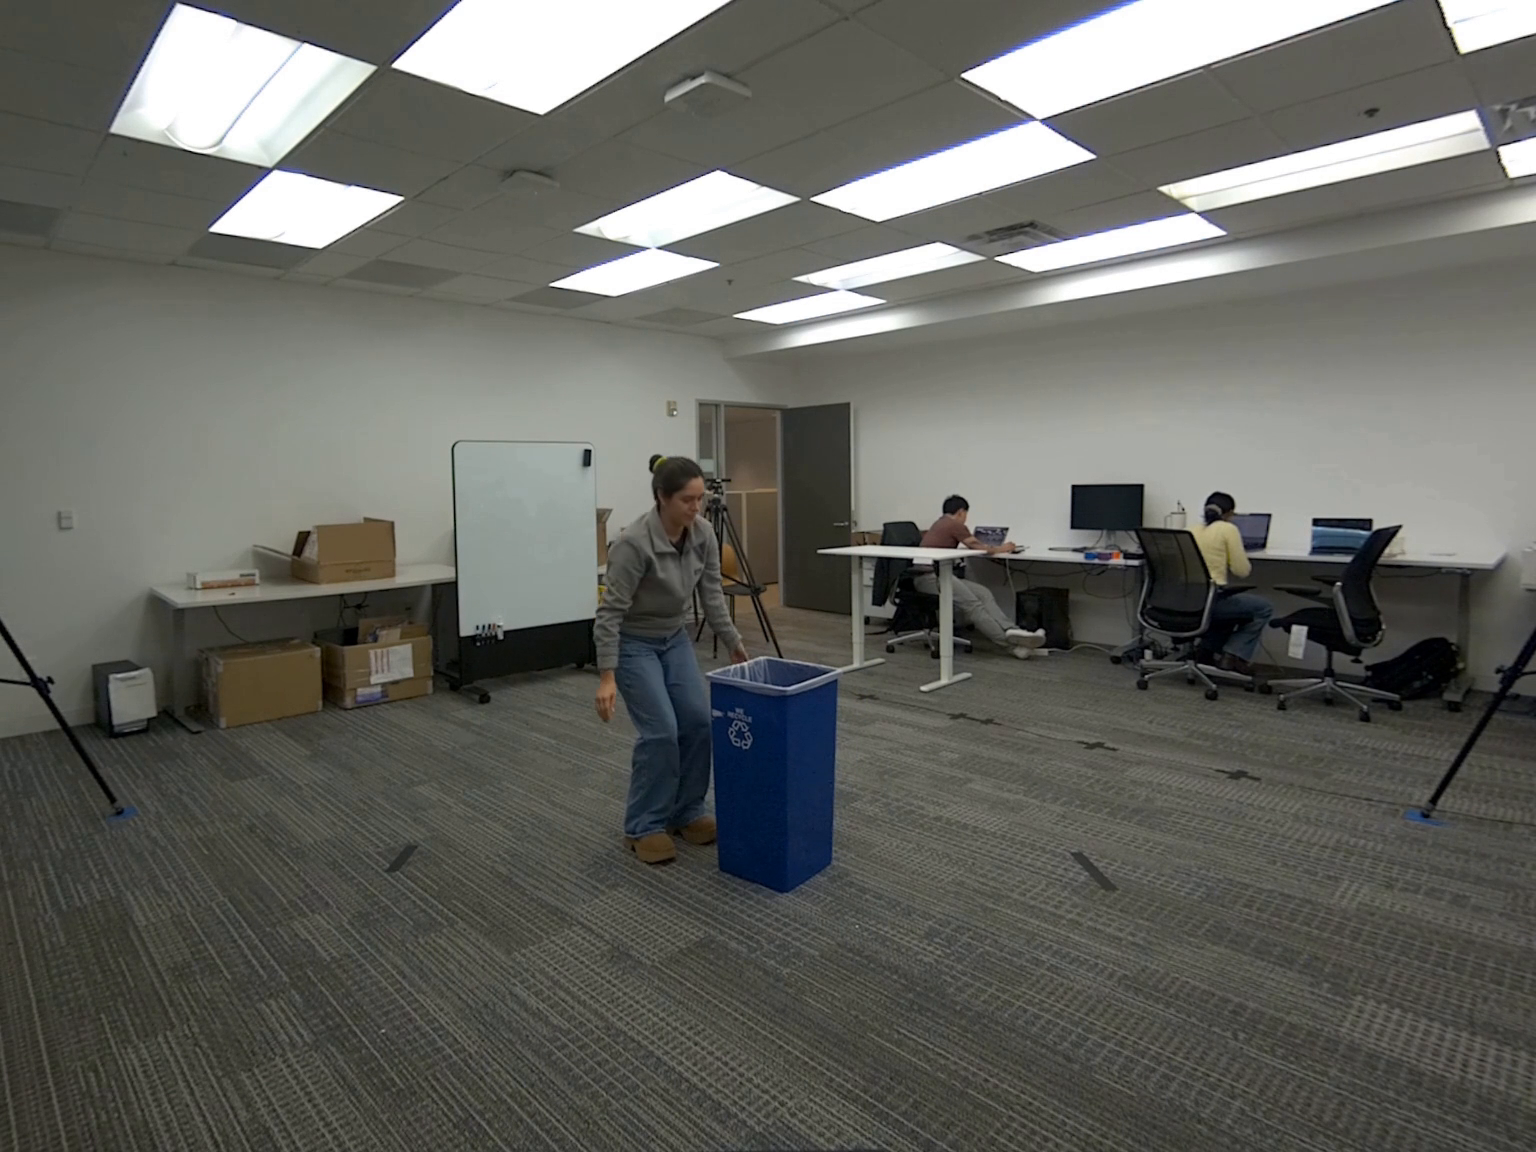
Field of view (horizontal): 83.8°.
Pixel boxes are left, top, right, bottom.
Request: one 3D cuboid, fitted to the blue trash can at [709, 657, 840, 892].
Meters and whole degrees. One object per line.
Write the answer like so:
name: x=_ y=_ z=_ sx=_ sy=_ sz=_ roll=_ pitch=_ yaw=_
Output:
blue trash can: x=0.032 y=0.691 z=3.051 sx=0.385 sy=0.711 sz=0.368 roll=2 pitch=5 yaw=37
